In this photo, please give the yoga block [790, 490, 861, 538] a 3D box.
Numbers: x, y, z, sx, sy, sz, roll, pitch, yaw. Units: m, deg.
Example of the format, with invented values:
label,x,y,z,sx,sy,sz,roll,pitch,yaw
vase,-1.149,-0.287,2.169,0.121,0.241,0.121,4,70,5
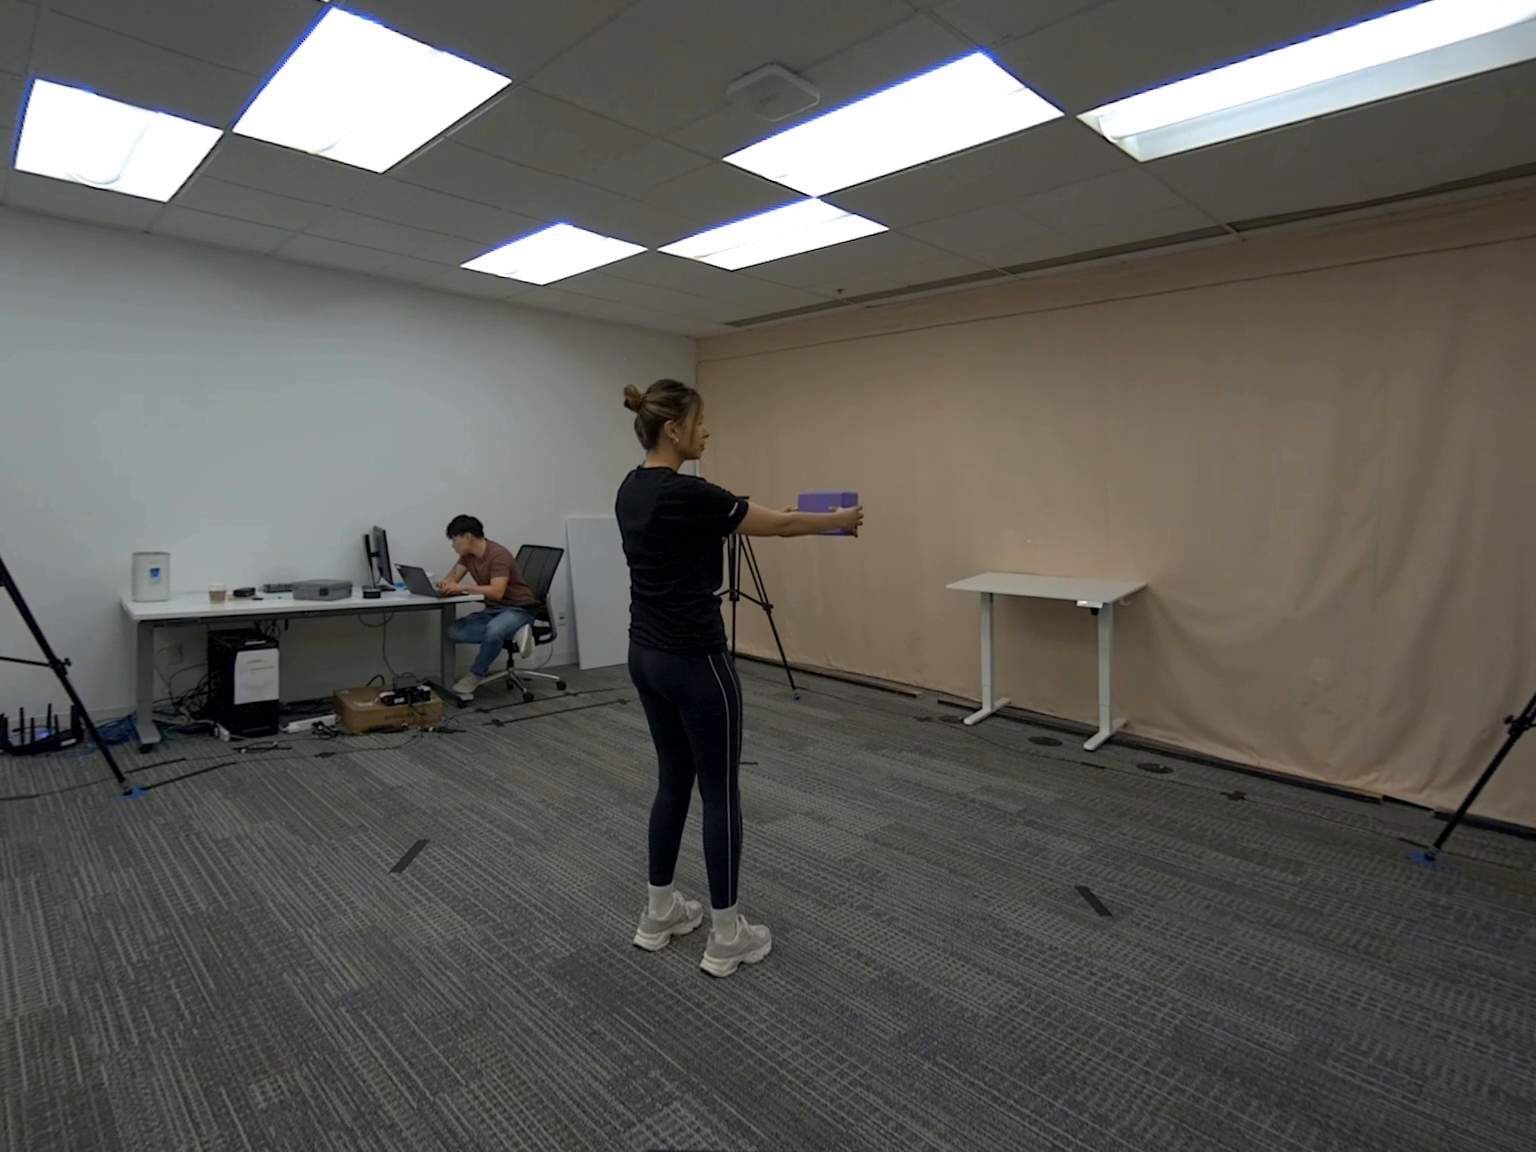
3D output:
label,x,y,z,sx,sy,sz,roll,pitch,yaw
yoga block,0.189,-0.210,2.850,0.235,0.149,0.074,3,-1,39
